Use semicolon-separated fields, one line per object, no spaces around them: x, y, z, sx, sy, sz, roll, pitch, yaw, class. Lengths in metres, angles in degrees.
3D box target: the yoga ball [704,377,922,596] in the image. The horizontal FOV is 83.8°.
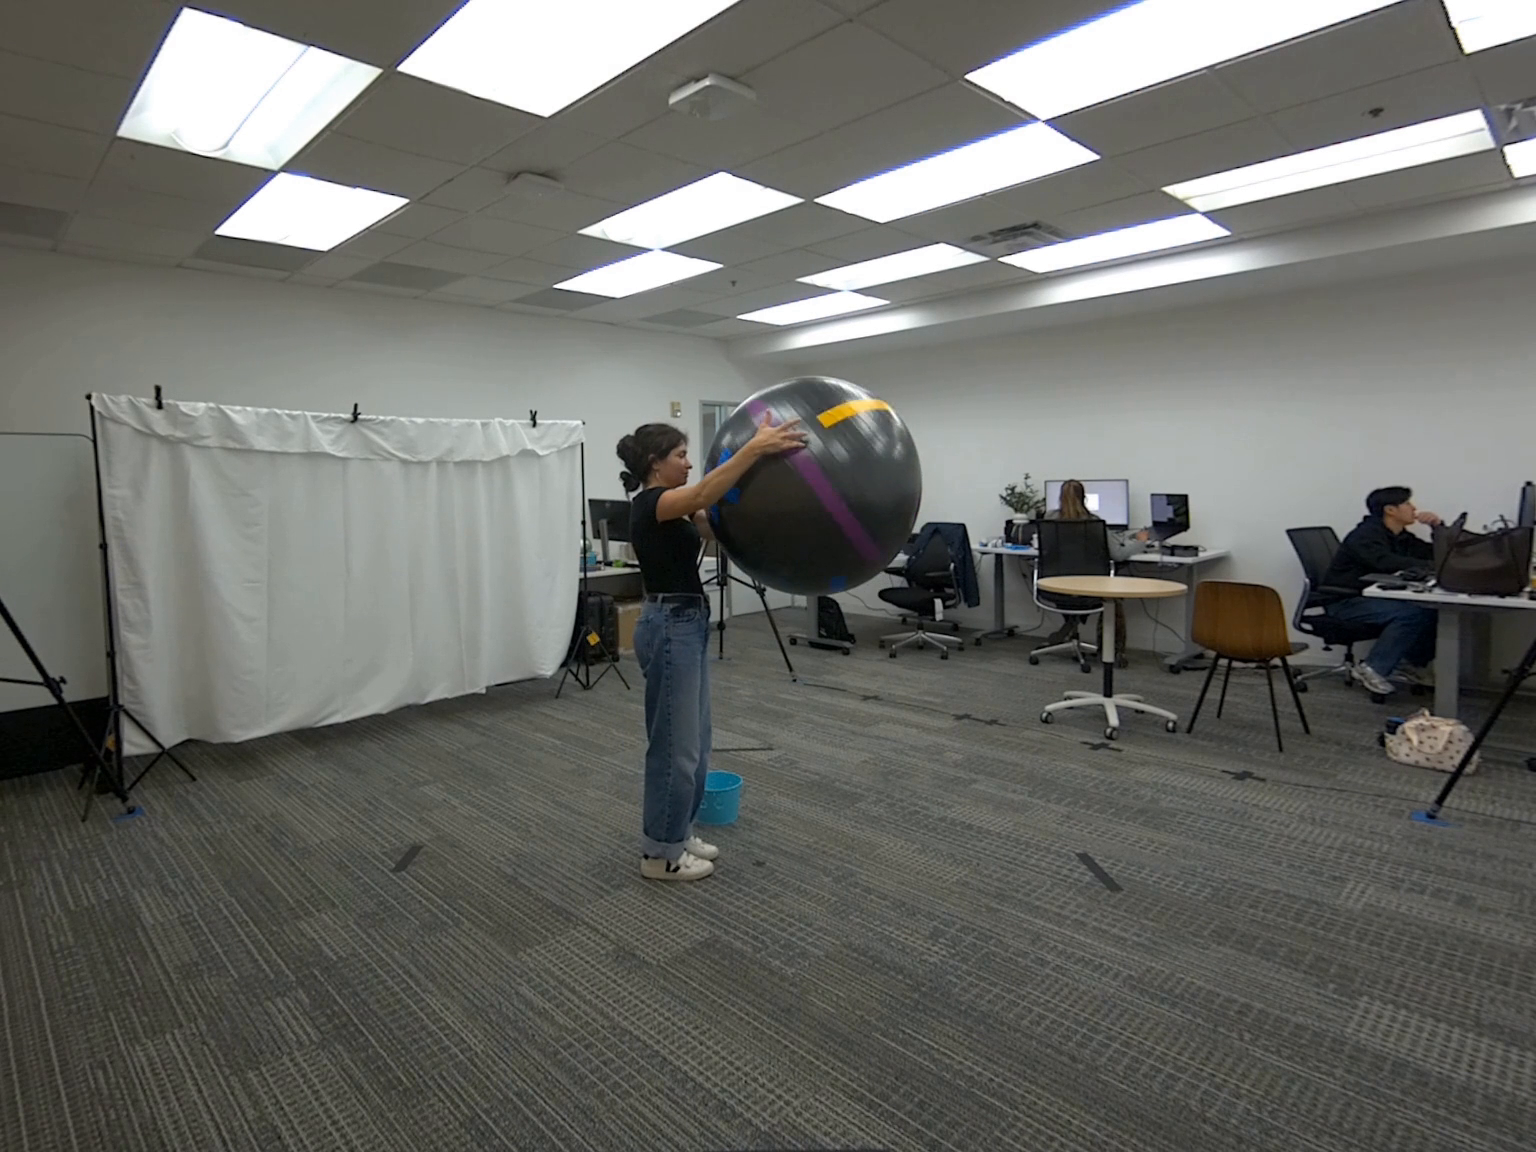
0.160;-0.300;2.974;0.757;0.755;0.762;-1;5;-2;yoga ball
